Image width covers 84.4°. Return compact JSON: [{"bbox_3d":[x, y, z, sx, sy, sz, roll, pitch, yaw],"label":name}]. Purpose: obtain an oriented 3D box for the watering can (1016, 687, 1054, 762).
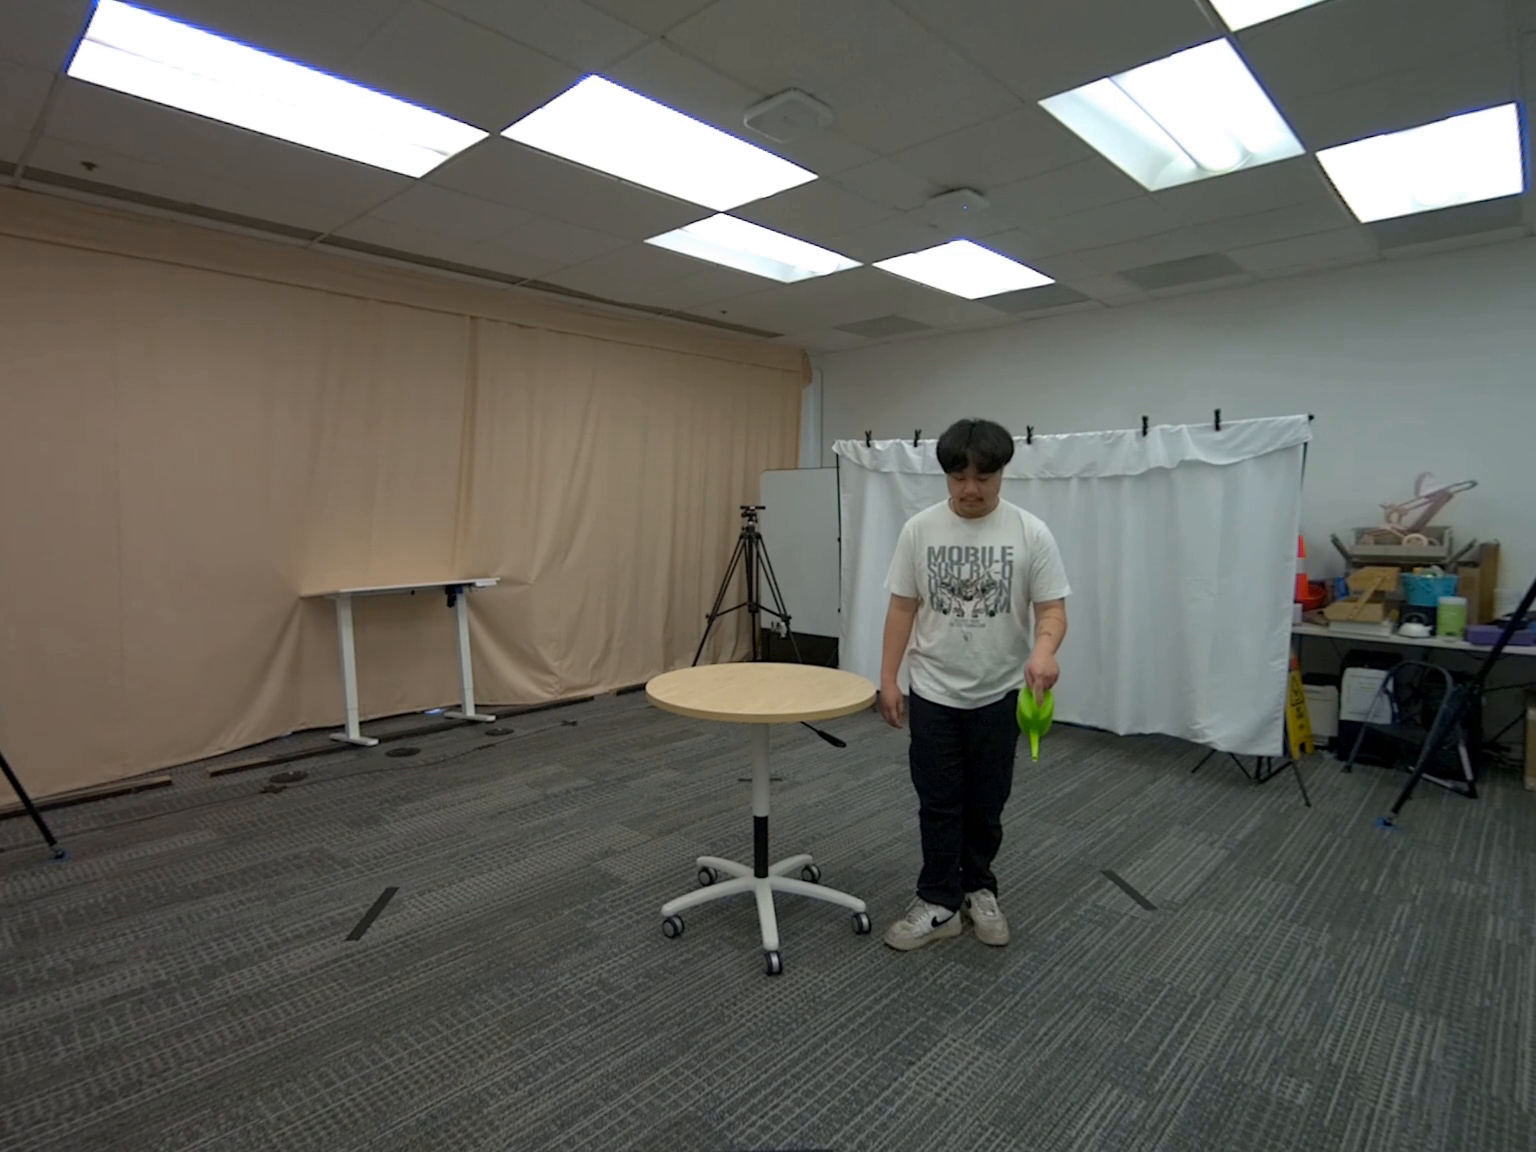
[{"bbox_3d":[0.747,0.405,2.373,0.100,0.279,0.171,11,-27,23],"label":"watering can"}]
